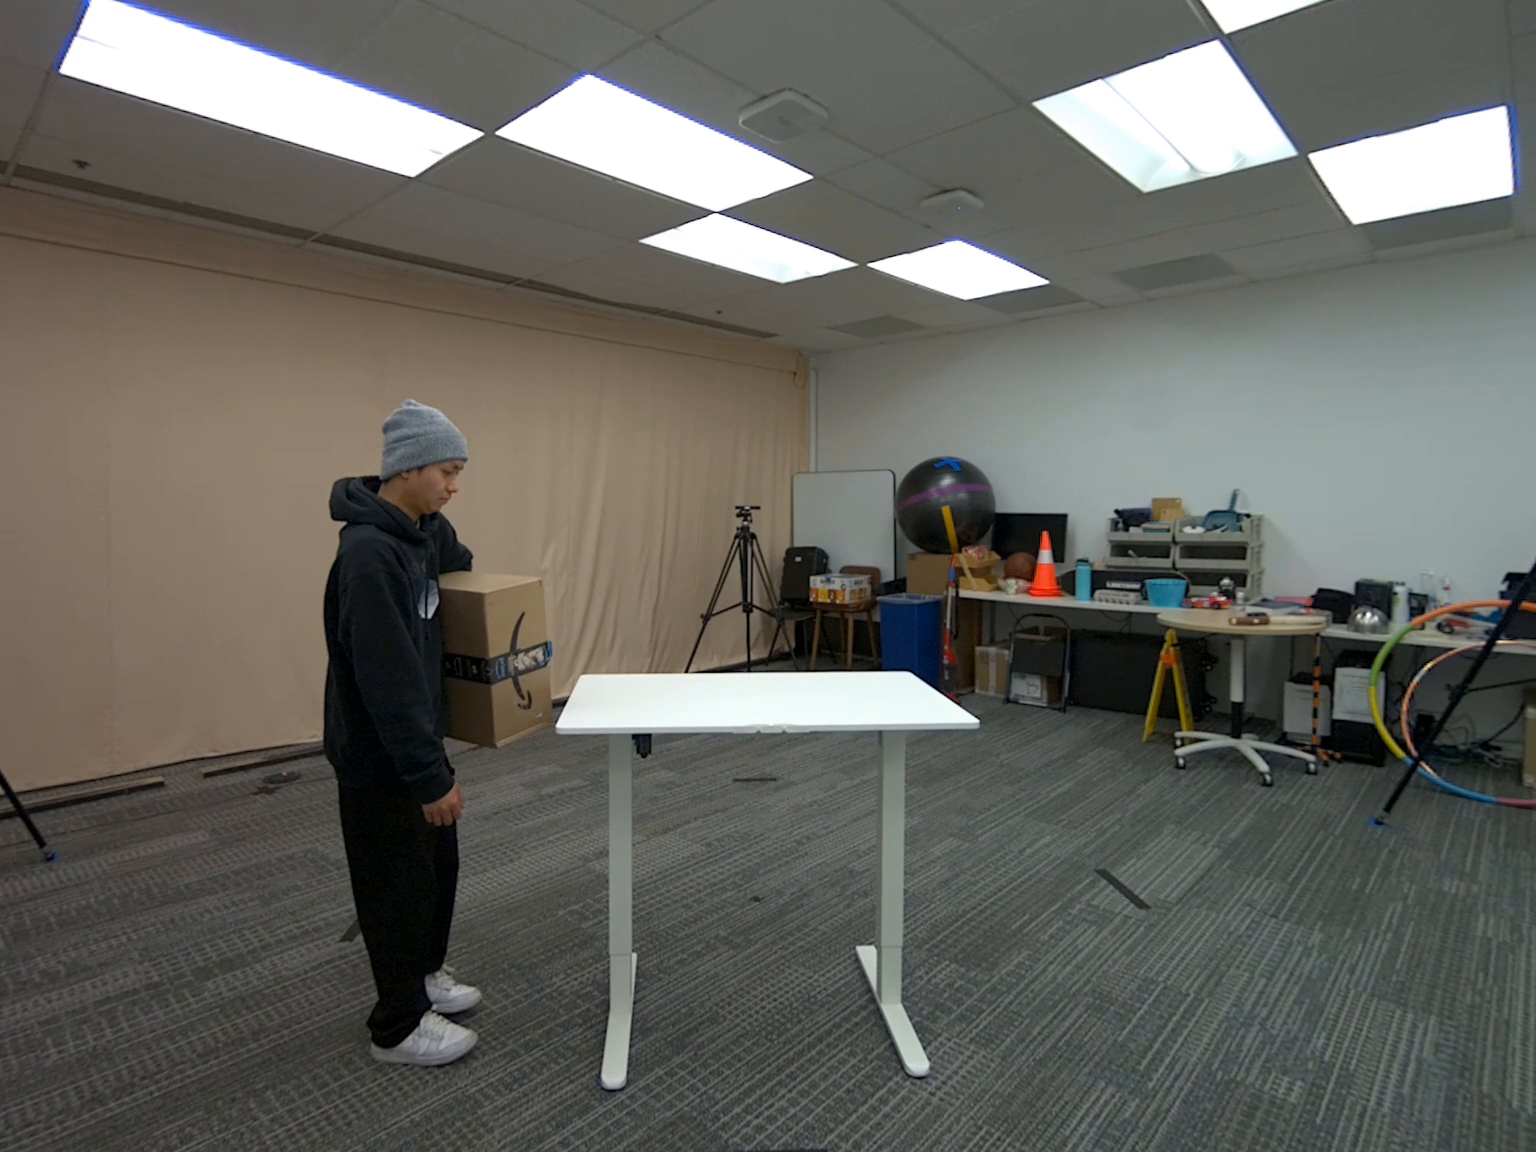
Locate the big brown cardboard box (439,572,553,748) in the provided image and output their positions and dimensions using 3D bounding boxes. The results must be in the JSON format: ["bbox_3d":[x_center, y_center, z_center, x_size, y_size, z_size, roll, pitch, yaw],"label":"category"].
[{"bbox_3d":[-0.899,0.212,2.372,0.606,0.415,0.228,4,9,29],"label":"big brown cardboard box"}]
